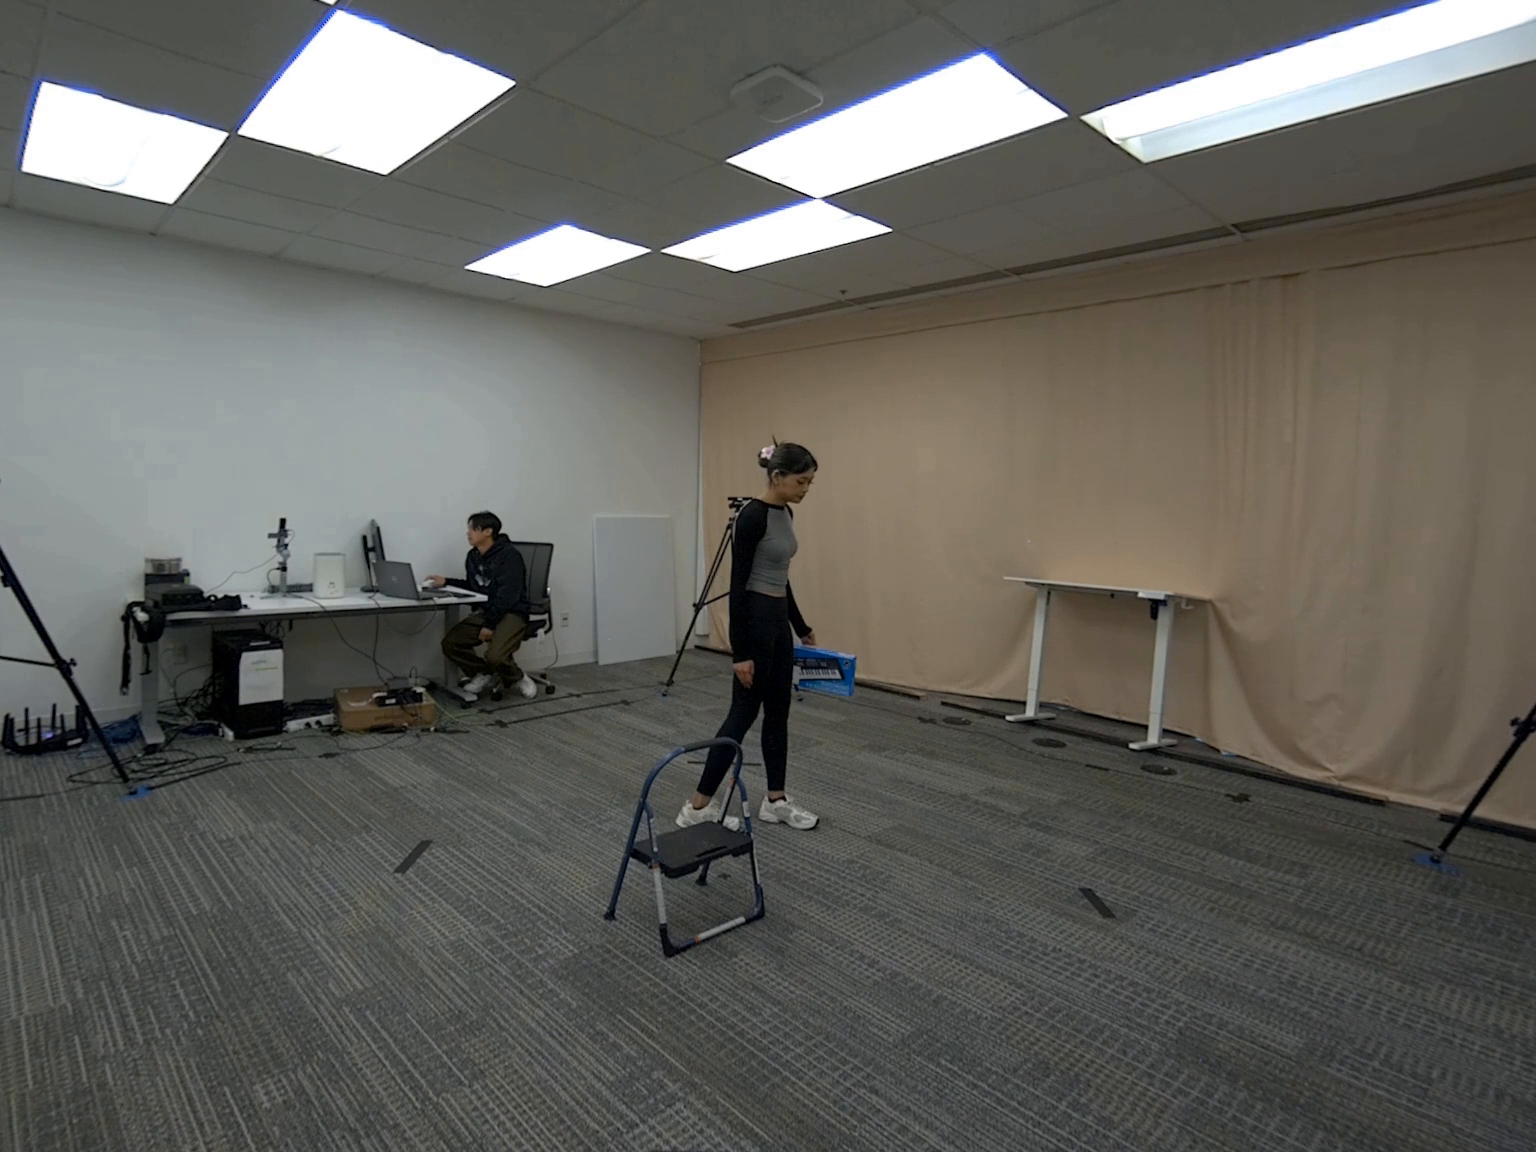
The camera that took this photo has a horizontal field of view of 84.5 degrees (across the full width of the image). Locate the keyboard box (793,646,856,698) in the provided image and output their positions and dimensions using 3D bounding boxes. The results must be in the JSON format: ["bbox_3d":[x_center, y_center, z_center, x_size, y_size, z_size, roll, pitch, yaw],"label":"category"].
[{"bbox_3d":[0.165,0.409,3.783,0.446,0.175,0.058,9,11,25],"label":"keyboard box"}]
